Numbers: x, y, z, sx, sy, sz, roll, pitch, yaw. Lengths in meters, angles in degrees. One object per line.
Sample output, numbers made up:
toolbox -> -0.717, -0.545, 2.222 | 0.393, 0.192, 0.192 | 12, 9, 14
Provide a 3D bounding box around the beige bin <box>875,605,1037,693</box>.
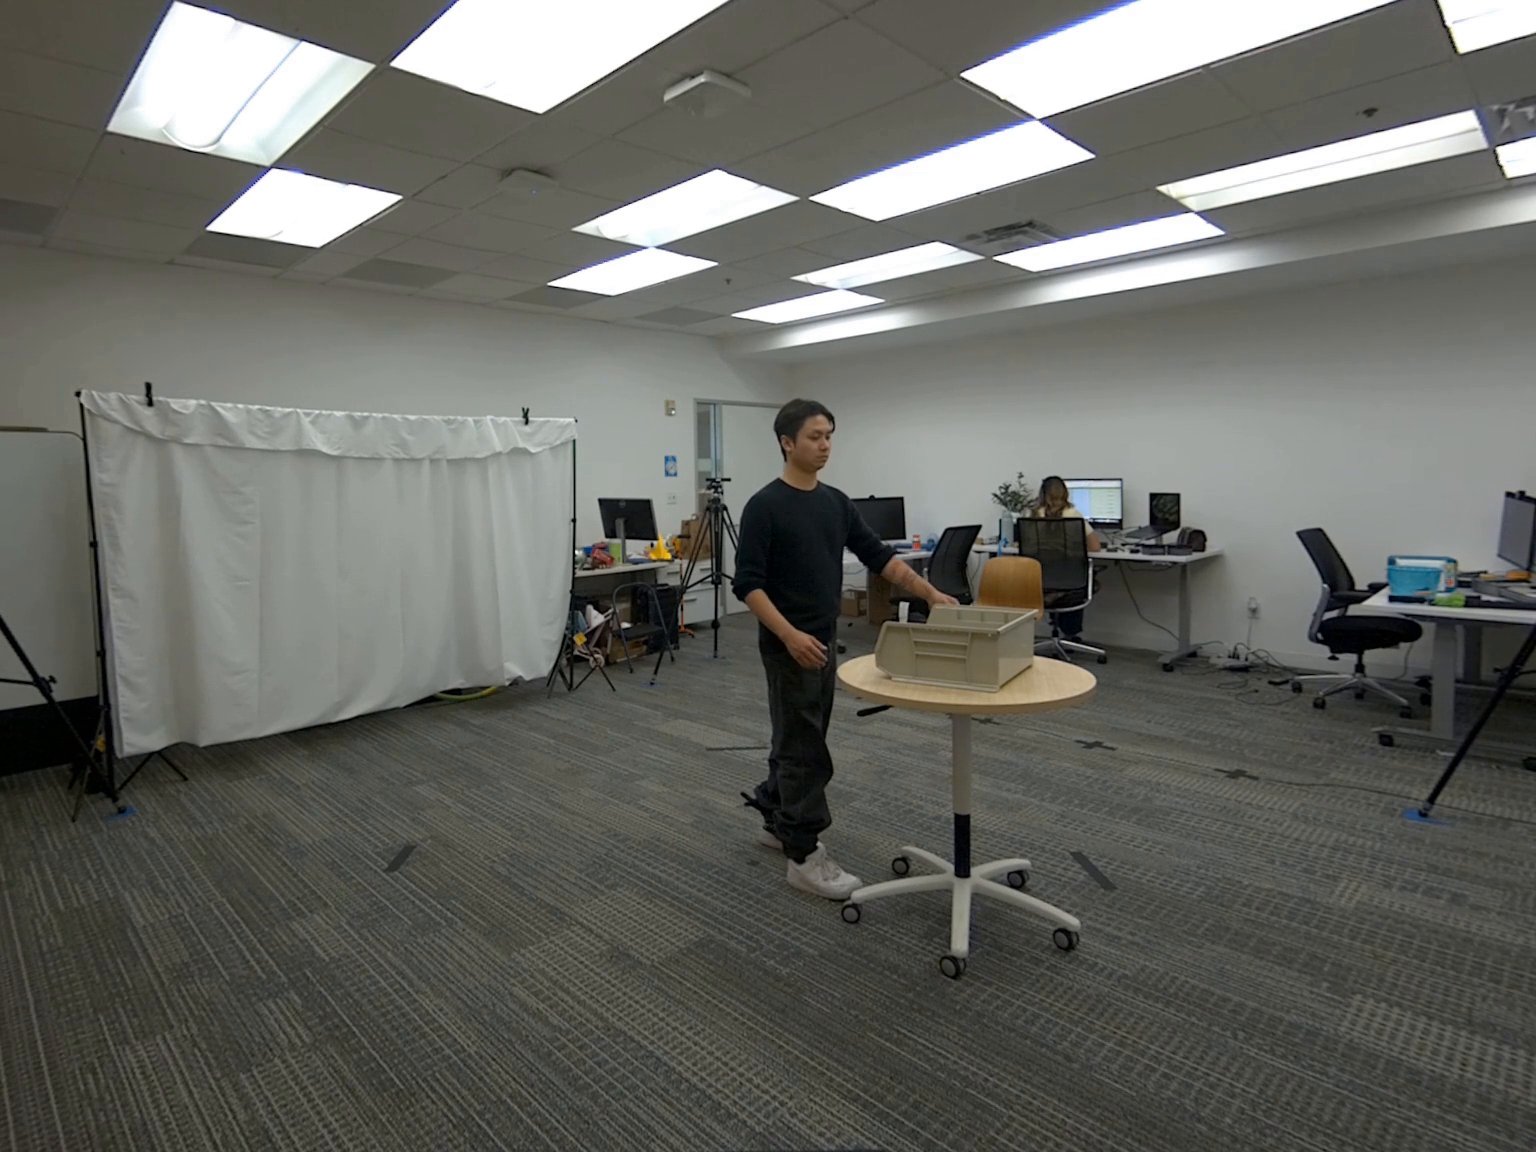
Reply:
beige bin -> 0.596, 0.215, 2.639 | 0.388, 0.188, 0.412 | 3, 7, 32
